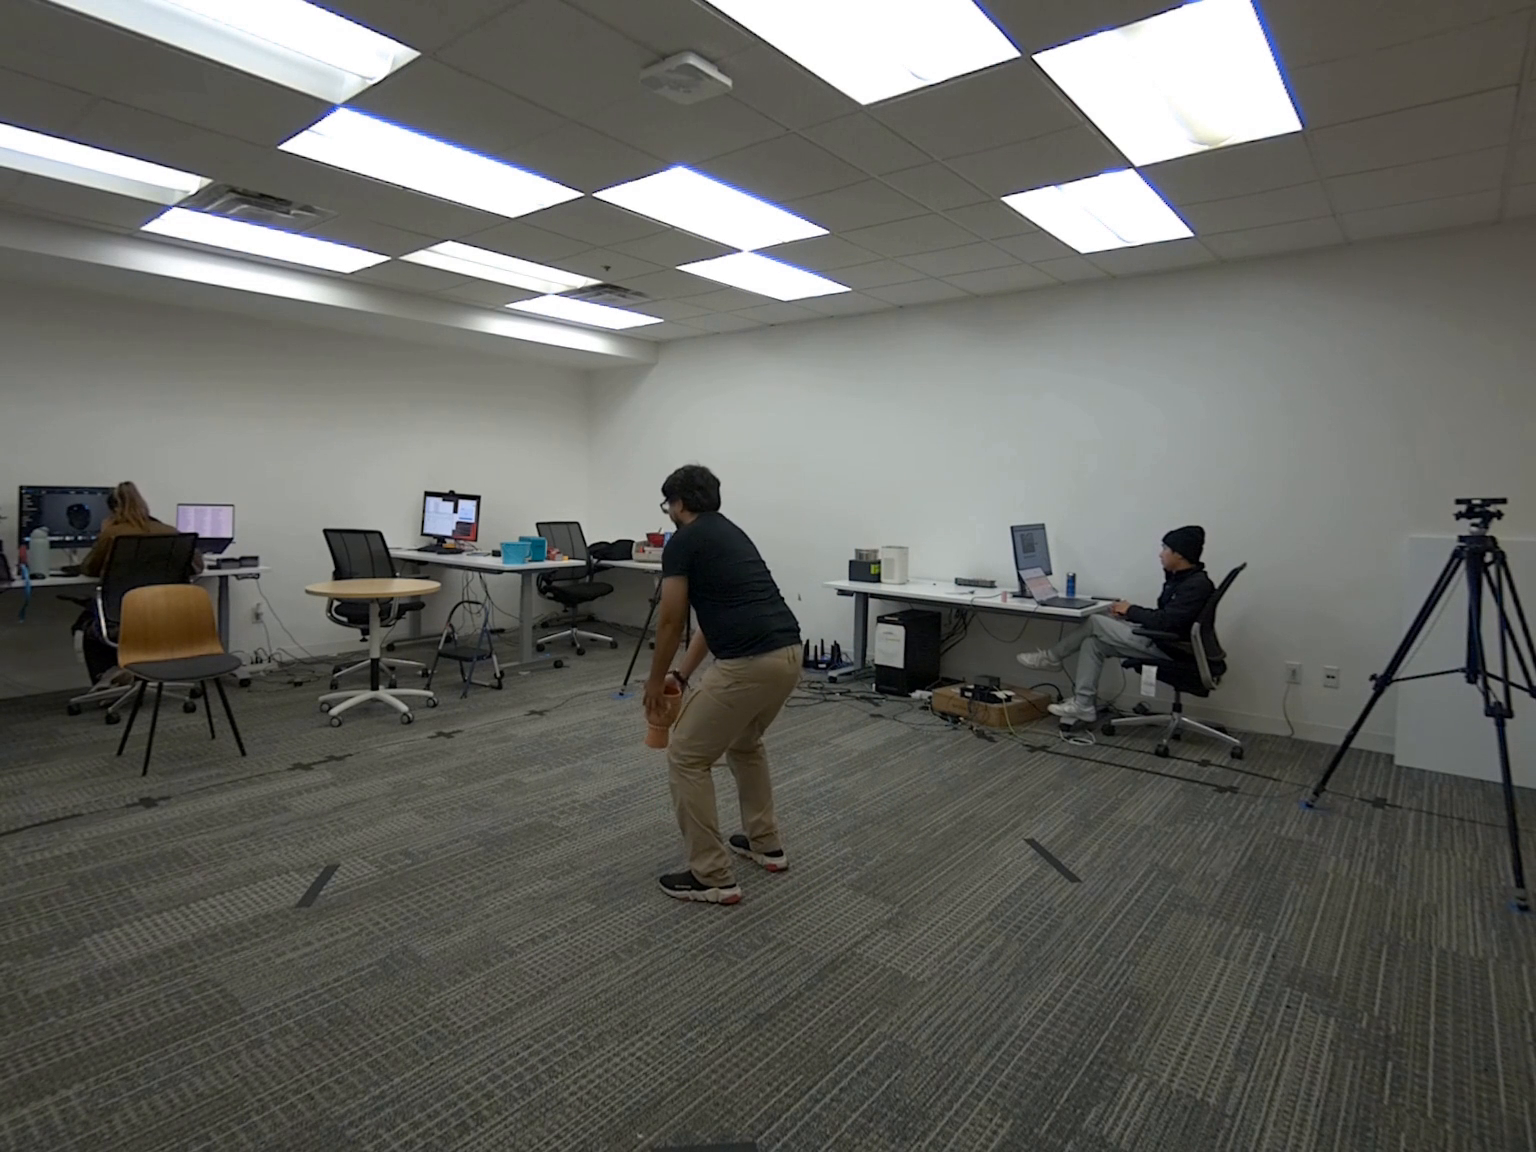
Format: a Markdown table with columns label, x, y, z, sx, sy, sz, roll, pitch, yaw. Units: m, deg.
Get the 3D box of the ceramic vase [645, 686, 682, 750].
| label | x | y | z | sx | sy | sz | roll | pitch | yaw |
| --- | --- | --- | --- | --- | --- | --- | --- | --- | --- |
| ceramic vase | -0.428 | 0.539 | 3.294 | 0.137 | 0.218 | 0.157 | 10 | 8 | 14 |
